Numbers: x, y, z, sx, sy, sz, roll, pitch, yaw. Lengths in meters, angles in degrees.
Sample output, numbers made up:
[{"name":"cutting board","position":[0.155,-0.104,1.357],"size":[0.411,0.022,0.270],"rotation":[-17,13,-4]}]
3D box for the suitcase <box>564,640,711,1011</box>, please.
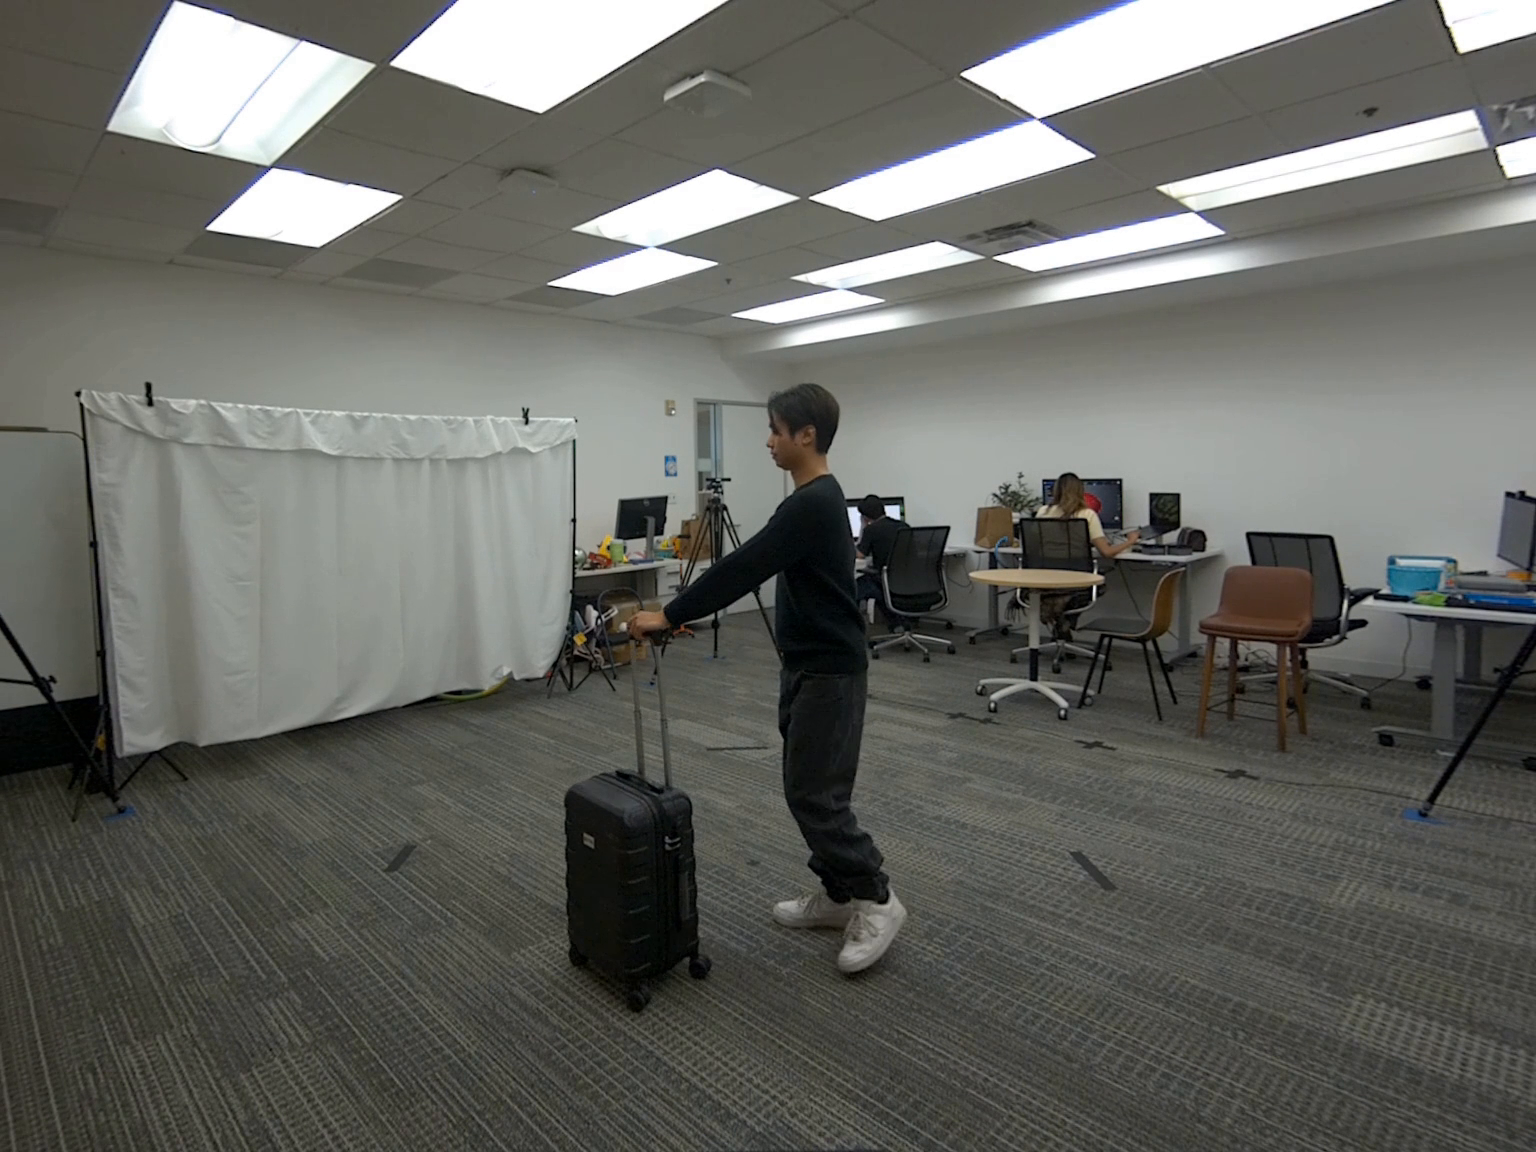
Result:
[{"name":"suitcase","position":[-0.403,0.656,2.412],"size":[0.250,0.974,0.395],"rotation":[-8,6,-42]}]
